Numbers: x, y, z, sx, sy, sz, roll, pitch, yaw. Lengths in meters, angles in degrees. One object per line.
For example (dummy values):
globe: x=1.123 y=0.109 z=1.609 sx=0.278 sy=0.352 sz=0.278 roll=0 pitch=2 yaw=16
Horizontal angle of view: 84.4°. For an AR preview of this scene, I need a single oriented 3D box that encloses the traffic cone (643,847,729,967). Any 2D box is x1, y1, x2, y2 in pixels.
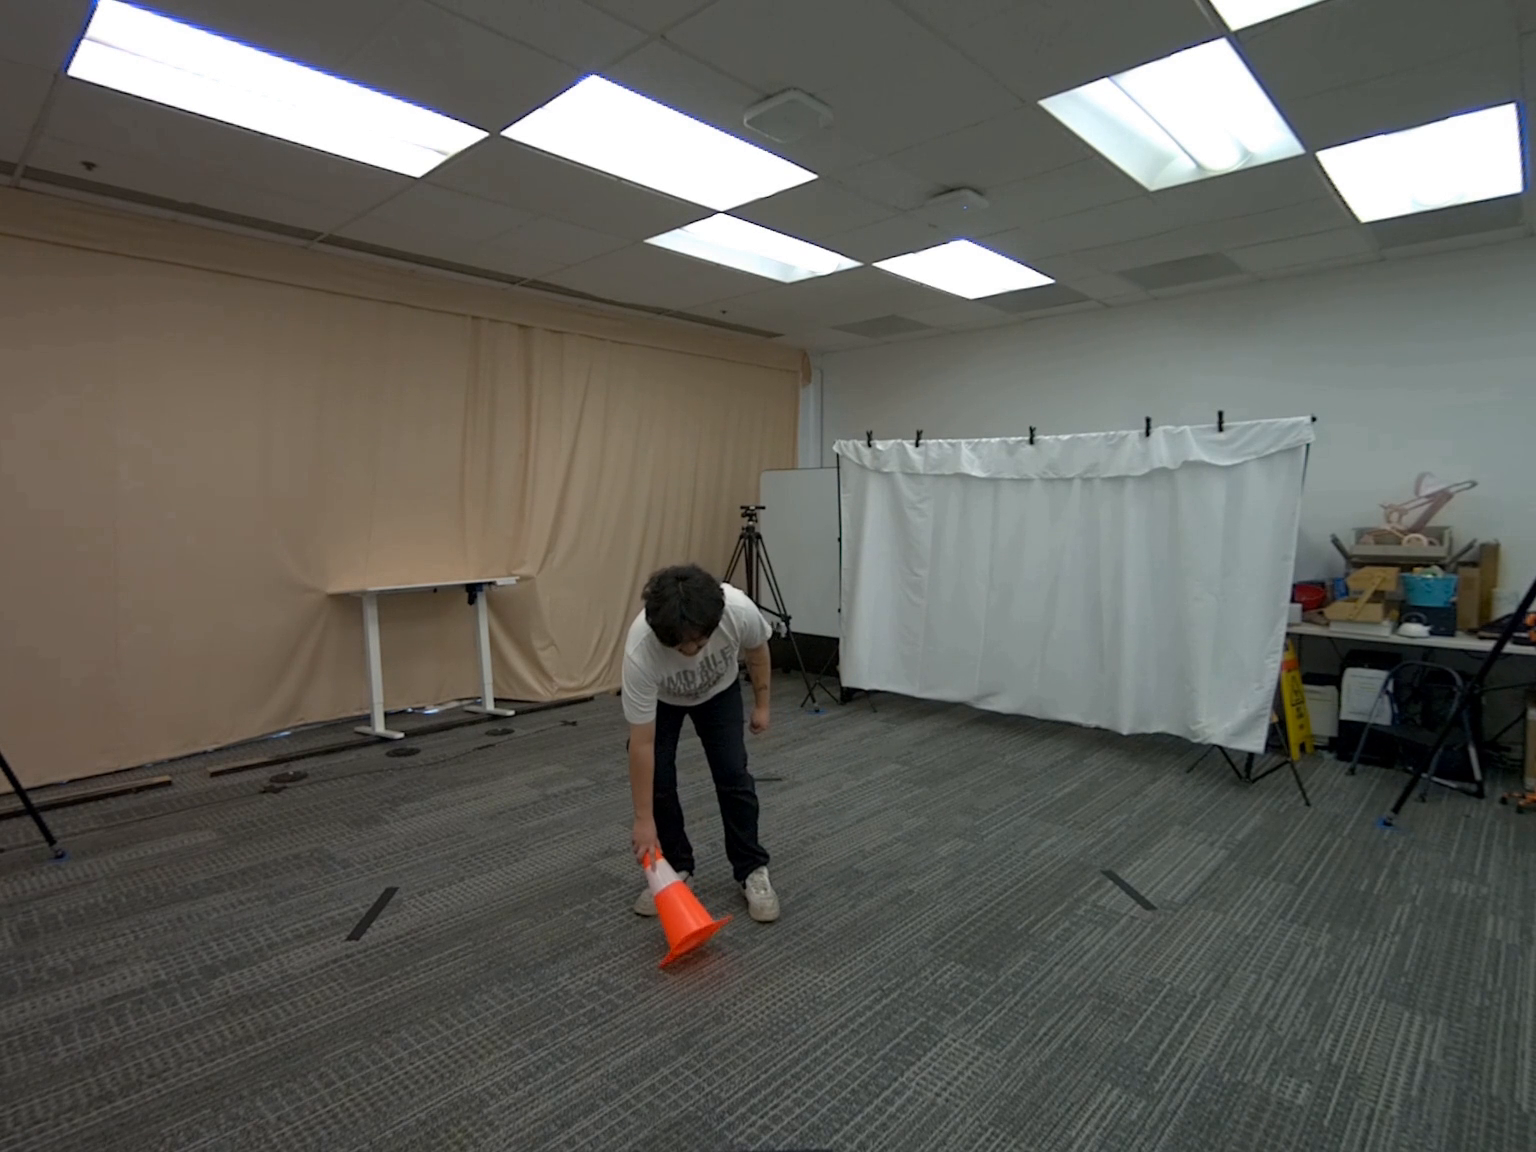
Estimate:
traffic cone: x=-0.315 y=0.974 z=2.652 sx=0.198 sy=0.204 sz=0.395 roll=0 pitch=46 yaw=-45
